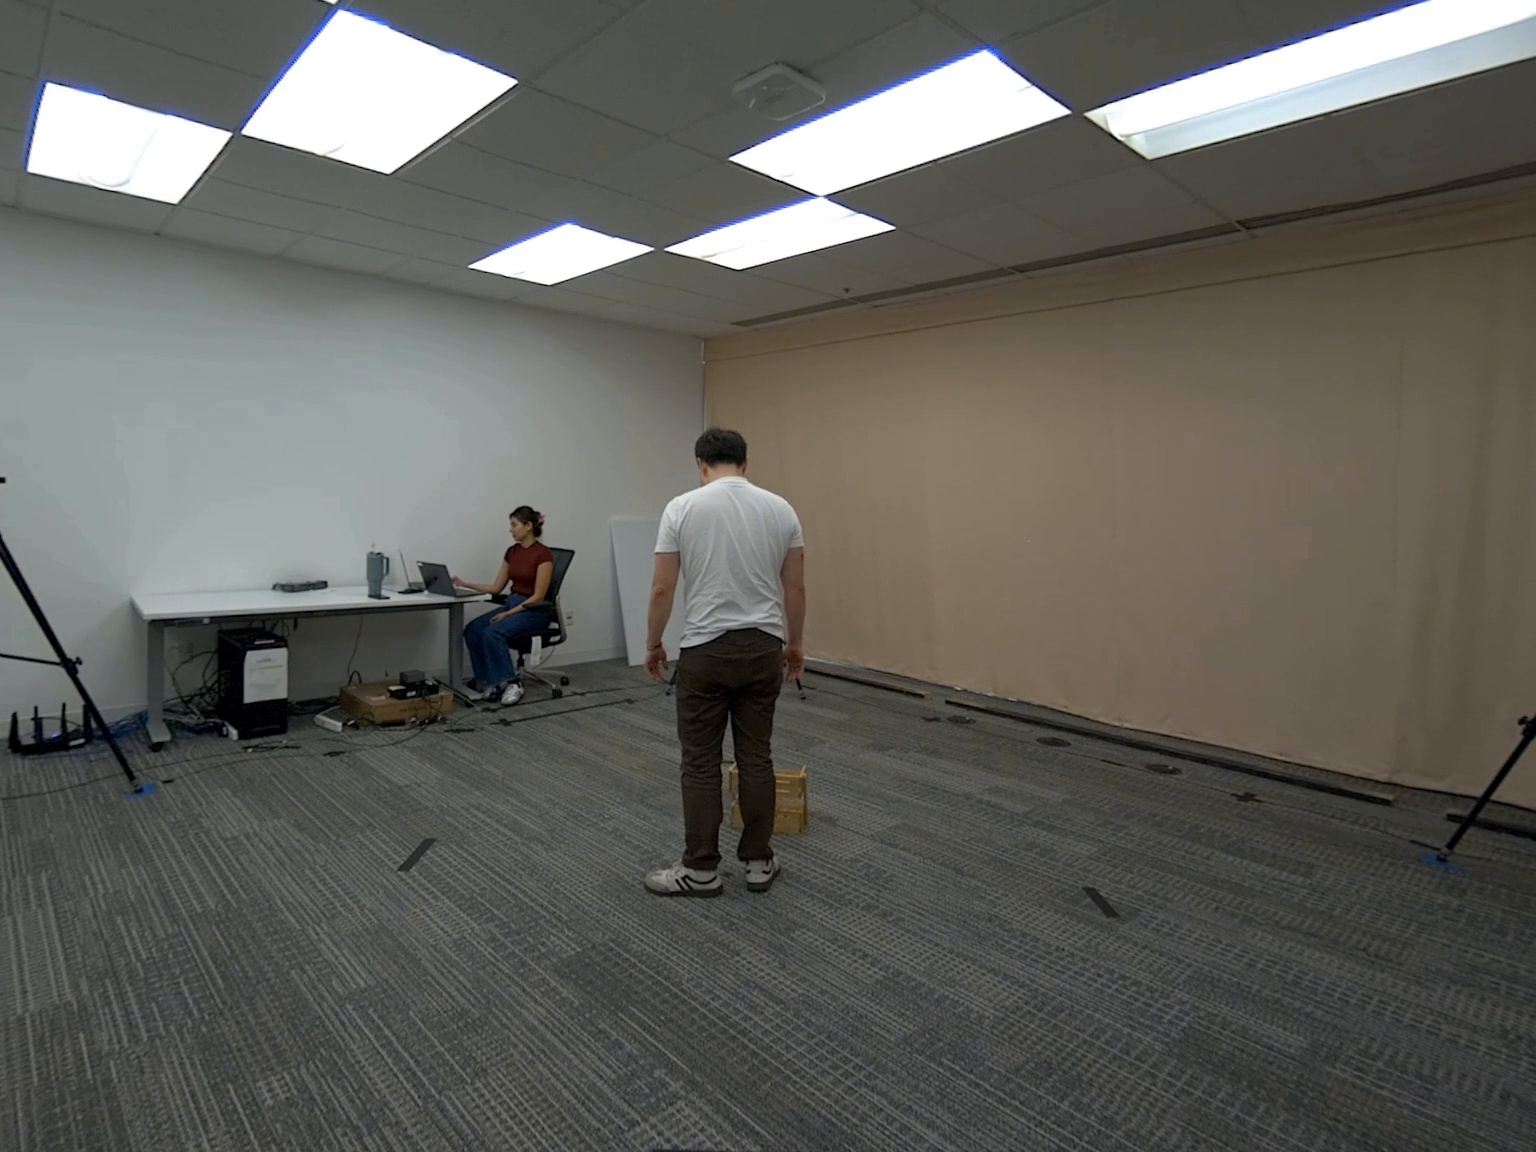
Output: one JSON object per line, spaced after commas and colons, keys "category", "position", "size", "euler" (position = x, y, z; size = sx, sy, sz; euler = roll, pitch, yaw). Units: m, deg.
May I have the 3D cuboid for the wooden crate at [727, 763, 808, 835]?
{"category": "wooden crate", "position": [0.001, 0.931, 3.620], "size": [0.327, 0.272, 0.300], "euler": [2, 4, 10]}
